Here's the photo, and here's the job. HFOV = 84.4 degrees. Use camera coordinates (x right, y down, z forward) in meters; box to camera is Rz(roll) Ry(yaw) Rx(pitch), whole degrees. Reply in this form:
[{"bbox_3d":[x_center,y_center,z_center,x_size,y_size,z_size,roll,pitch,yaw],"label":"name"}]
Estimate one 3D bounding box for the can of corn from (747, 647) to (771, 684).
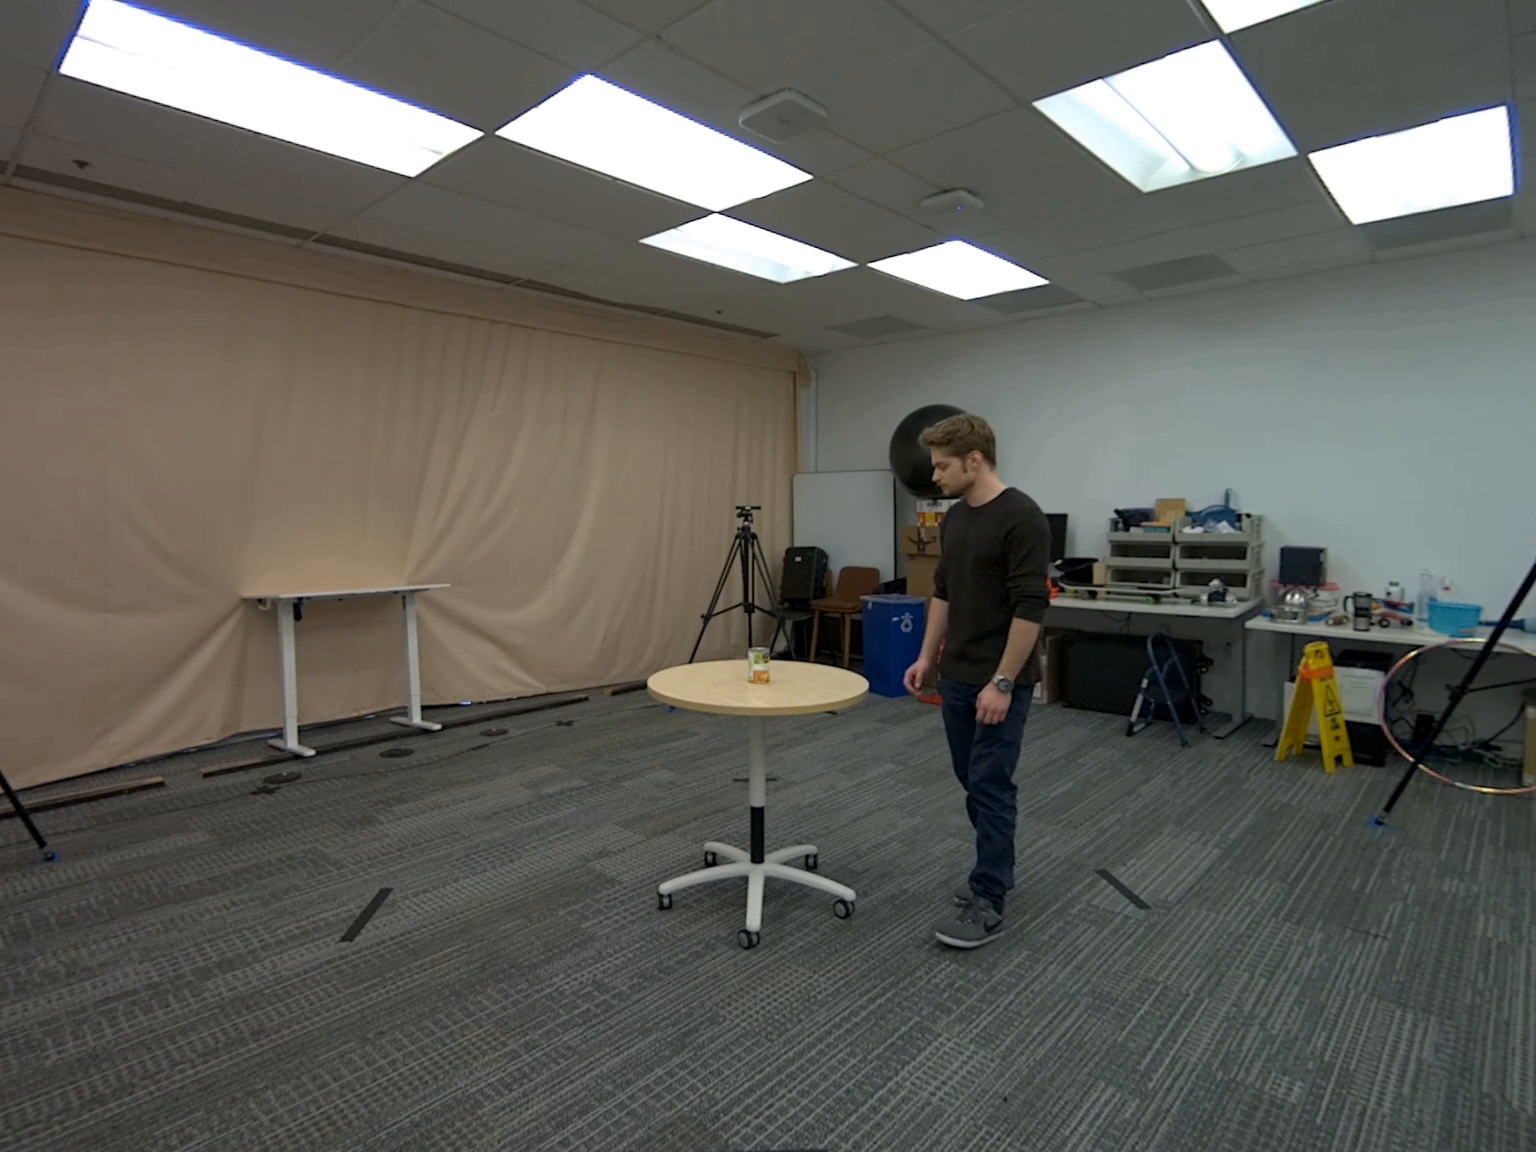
[{"bbox_3d":[-0.025,0.312,2.912,0.074,0.111,0.074,-1,3,-2],"label":"can of corn"}]
